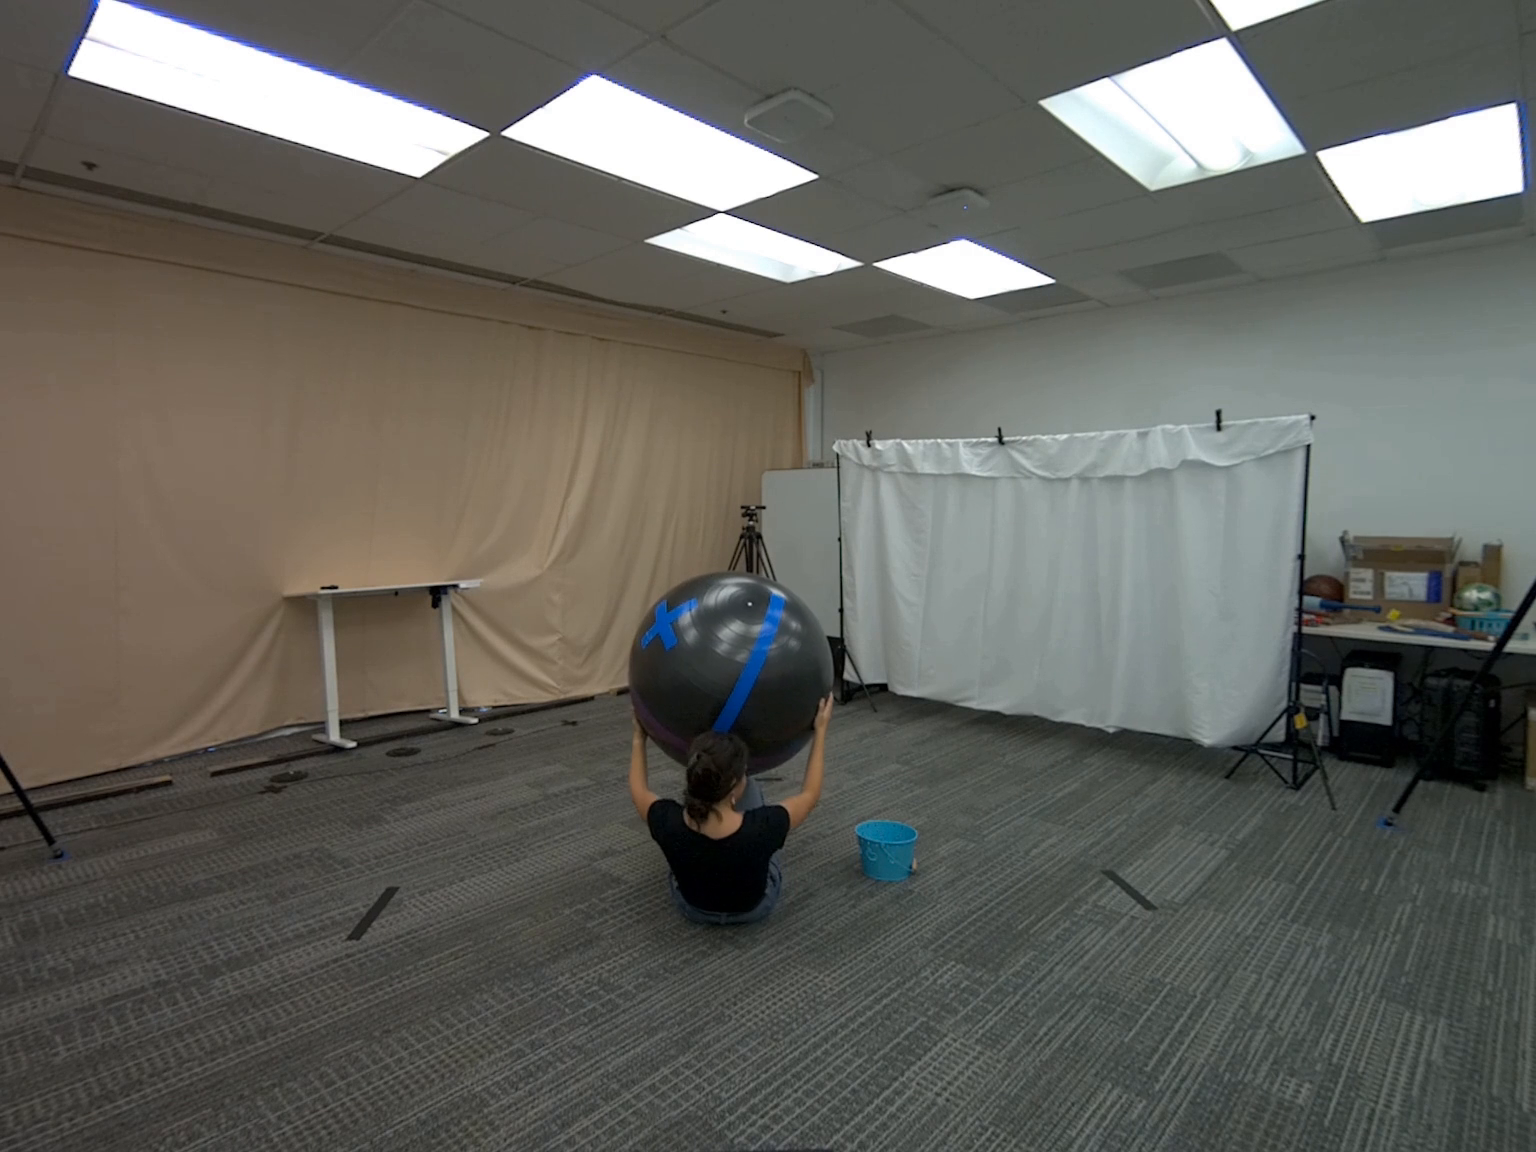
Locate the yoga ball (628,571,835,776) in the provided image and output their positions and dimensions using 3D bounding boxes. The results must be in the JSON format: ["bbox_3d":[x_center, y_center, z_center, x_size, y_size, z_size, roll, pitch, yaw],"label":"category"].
[{"bbox_3d":[-0.132,0.362,3.136,0.757,0.756,0.760,0,4,-2],"label":"yoga ball"}]
